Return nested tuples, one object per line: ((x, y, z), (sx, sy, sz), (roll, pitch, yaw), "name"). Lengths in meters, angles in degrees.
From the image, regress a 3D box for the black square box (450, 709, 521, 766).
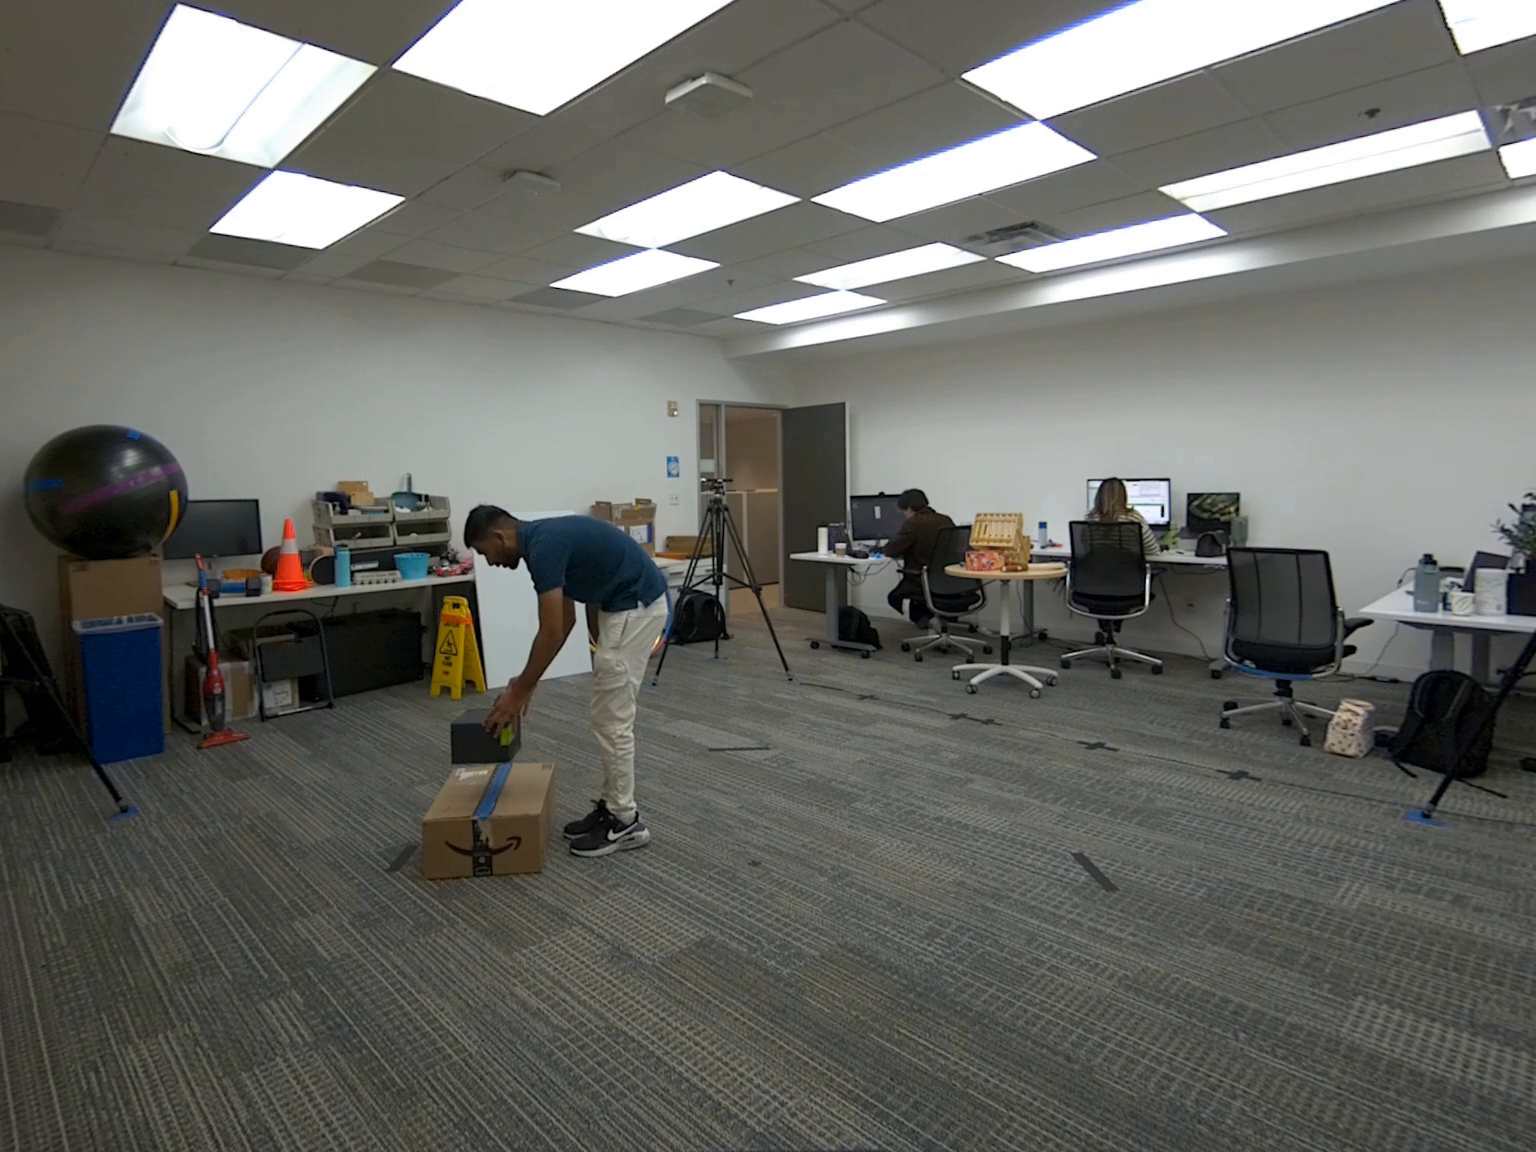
((-1.076, 0.599, 3.288), (0.216, 0.155, 0.229), (-2, 4, -4), "black square box")
